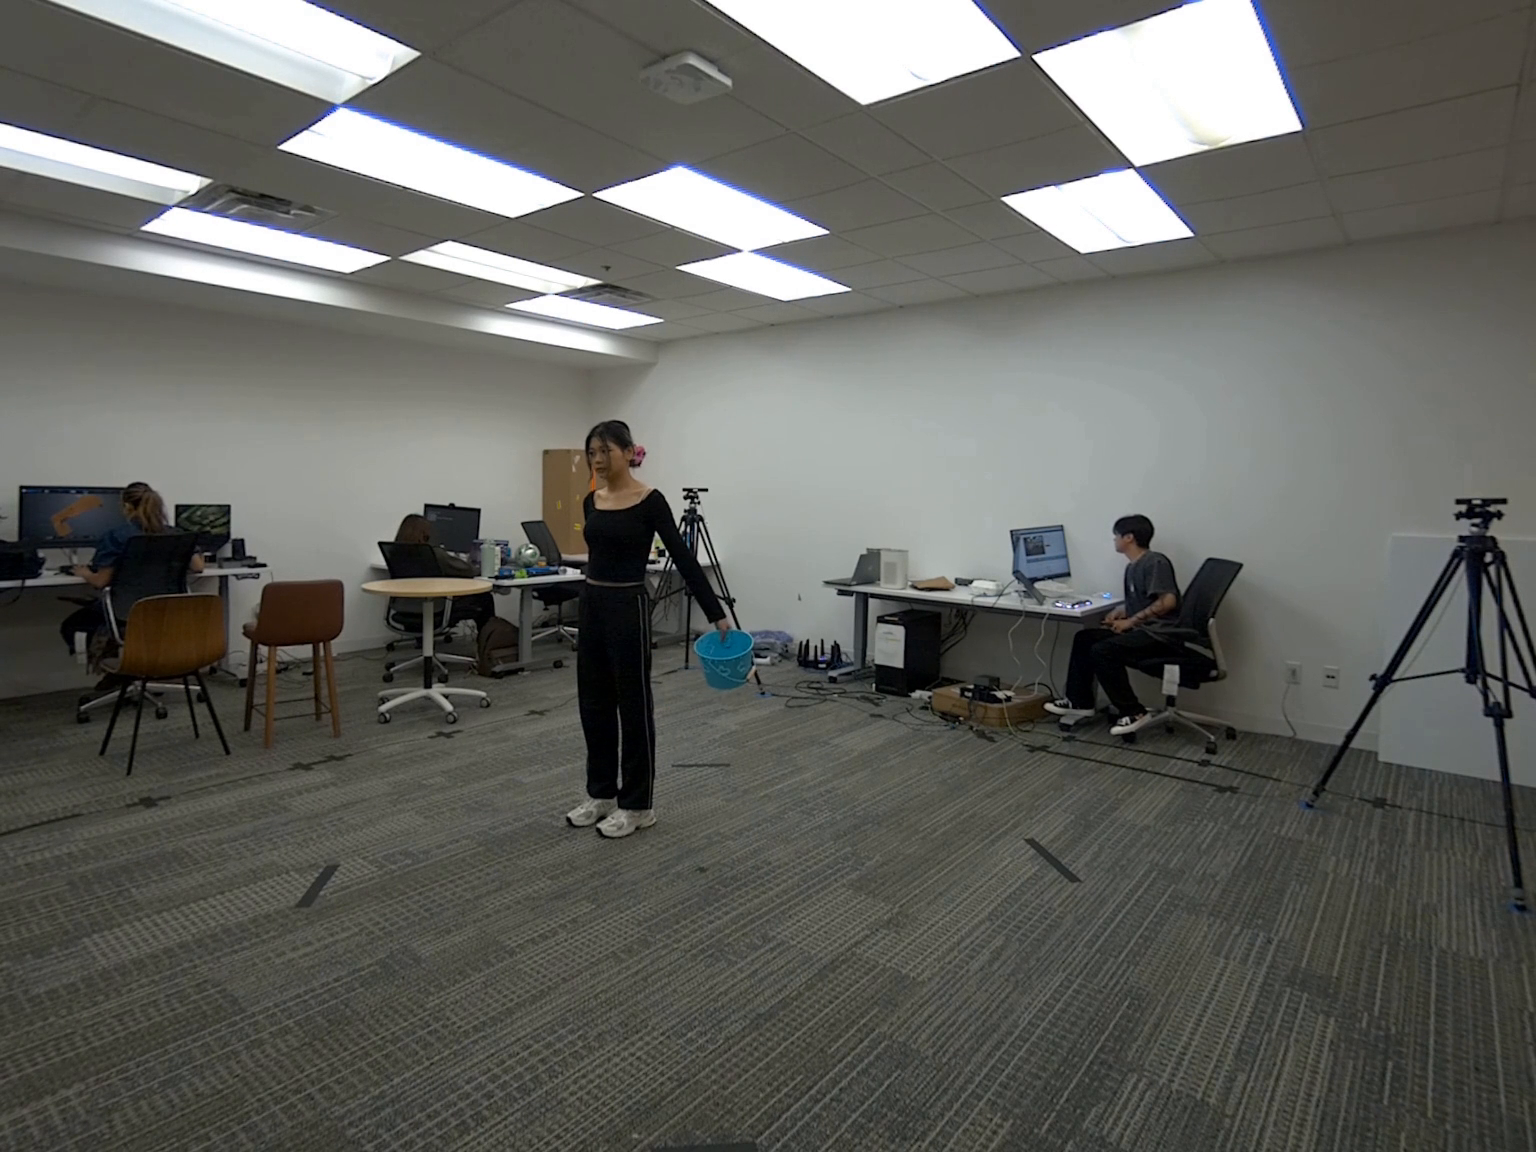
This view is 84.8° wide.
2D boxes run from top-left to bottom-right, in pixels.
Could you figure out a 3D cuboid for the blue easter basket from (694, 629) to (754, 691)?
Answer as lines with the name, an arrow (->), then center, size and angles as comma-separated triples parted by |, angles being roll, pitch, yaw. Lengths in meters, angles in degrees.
blue easter basket -> -0.178, 0.338, 3.337 | 0.244, 0.152, 0.249 | -7, 23, 1
